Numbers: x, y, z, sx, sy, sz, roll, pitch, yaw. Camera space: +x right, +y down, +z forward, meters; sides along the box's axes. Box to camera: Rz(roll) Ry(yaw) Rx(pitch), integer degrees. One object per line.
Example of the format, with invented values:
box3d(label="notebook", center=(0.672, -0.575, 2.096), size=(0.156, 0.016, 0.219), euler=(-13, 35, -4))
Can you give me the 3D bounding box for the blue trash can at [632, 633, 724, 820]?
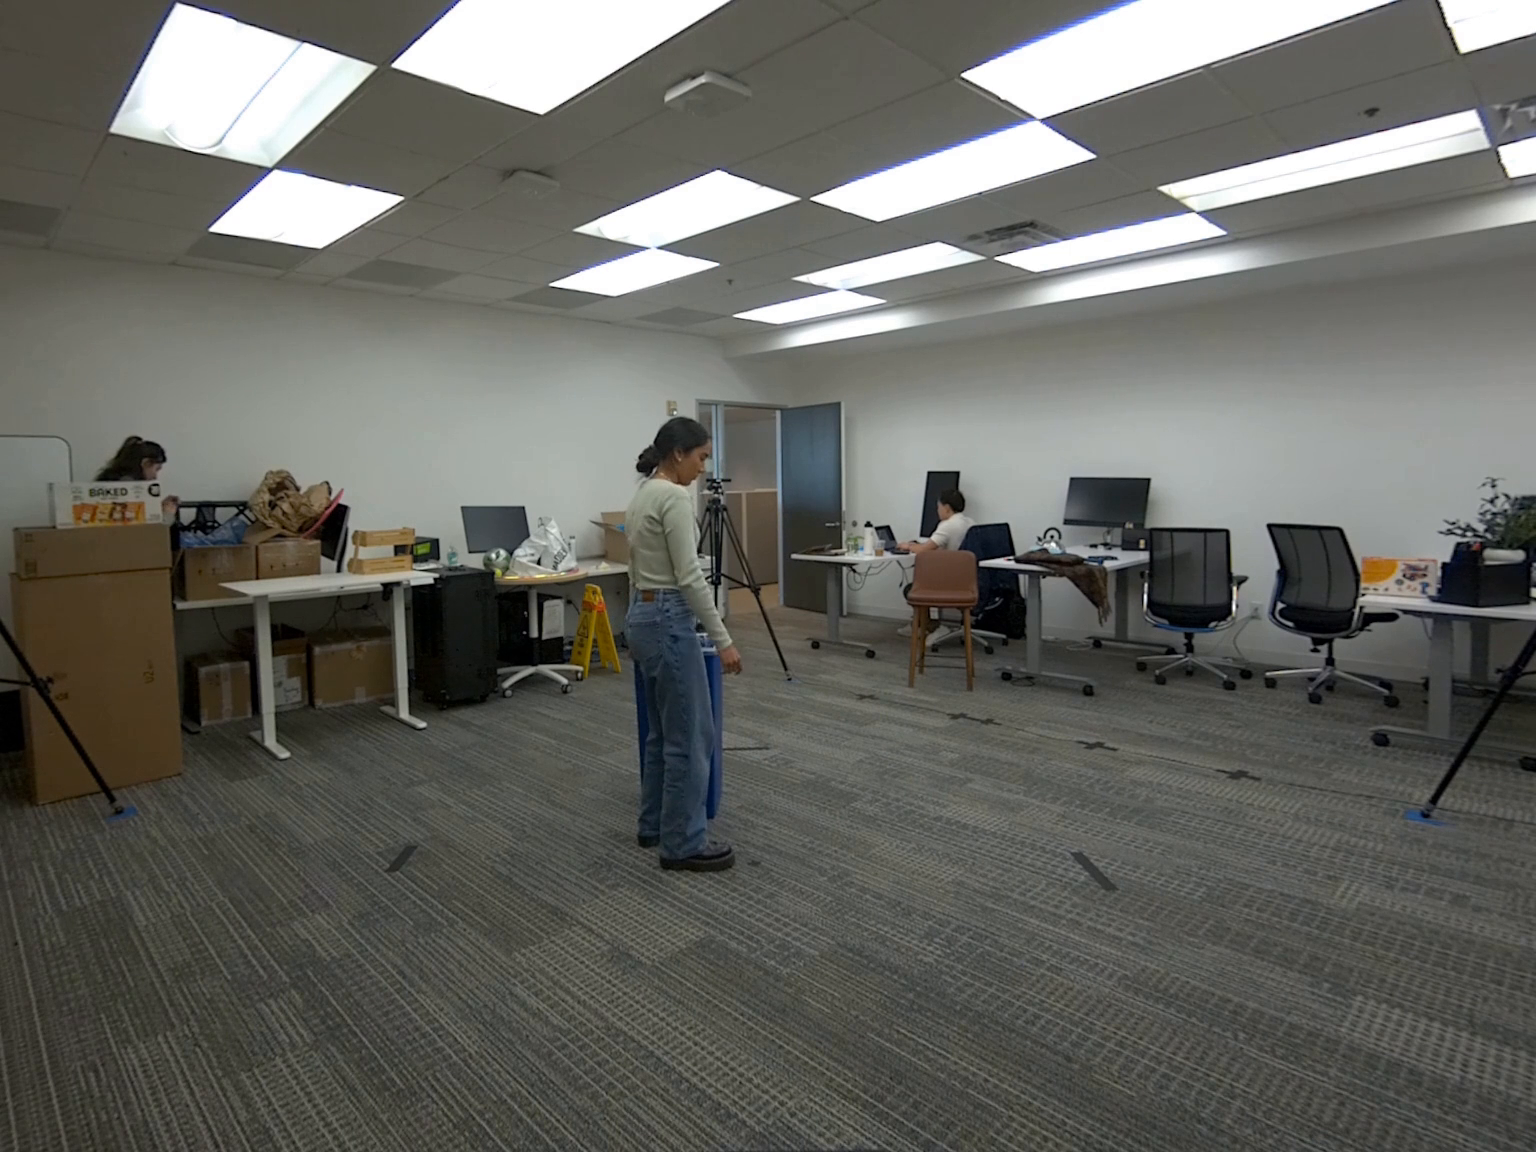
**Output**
box3d(label="blue trash can", center=(-0.363, 0.633, 3.648), size=(0.380, 0.711, 0.373), euler=(-1, 4, 5))
